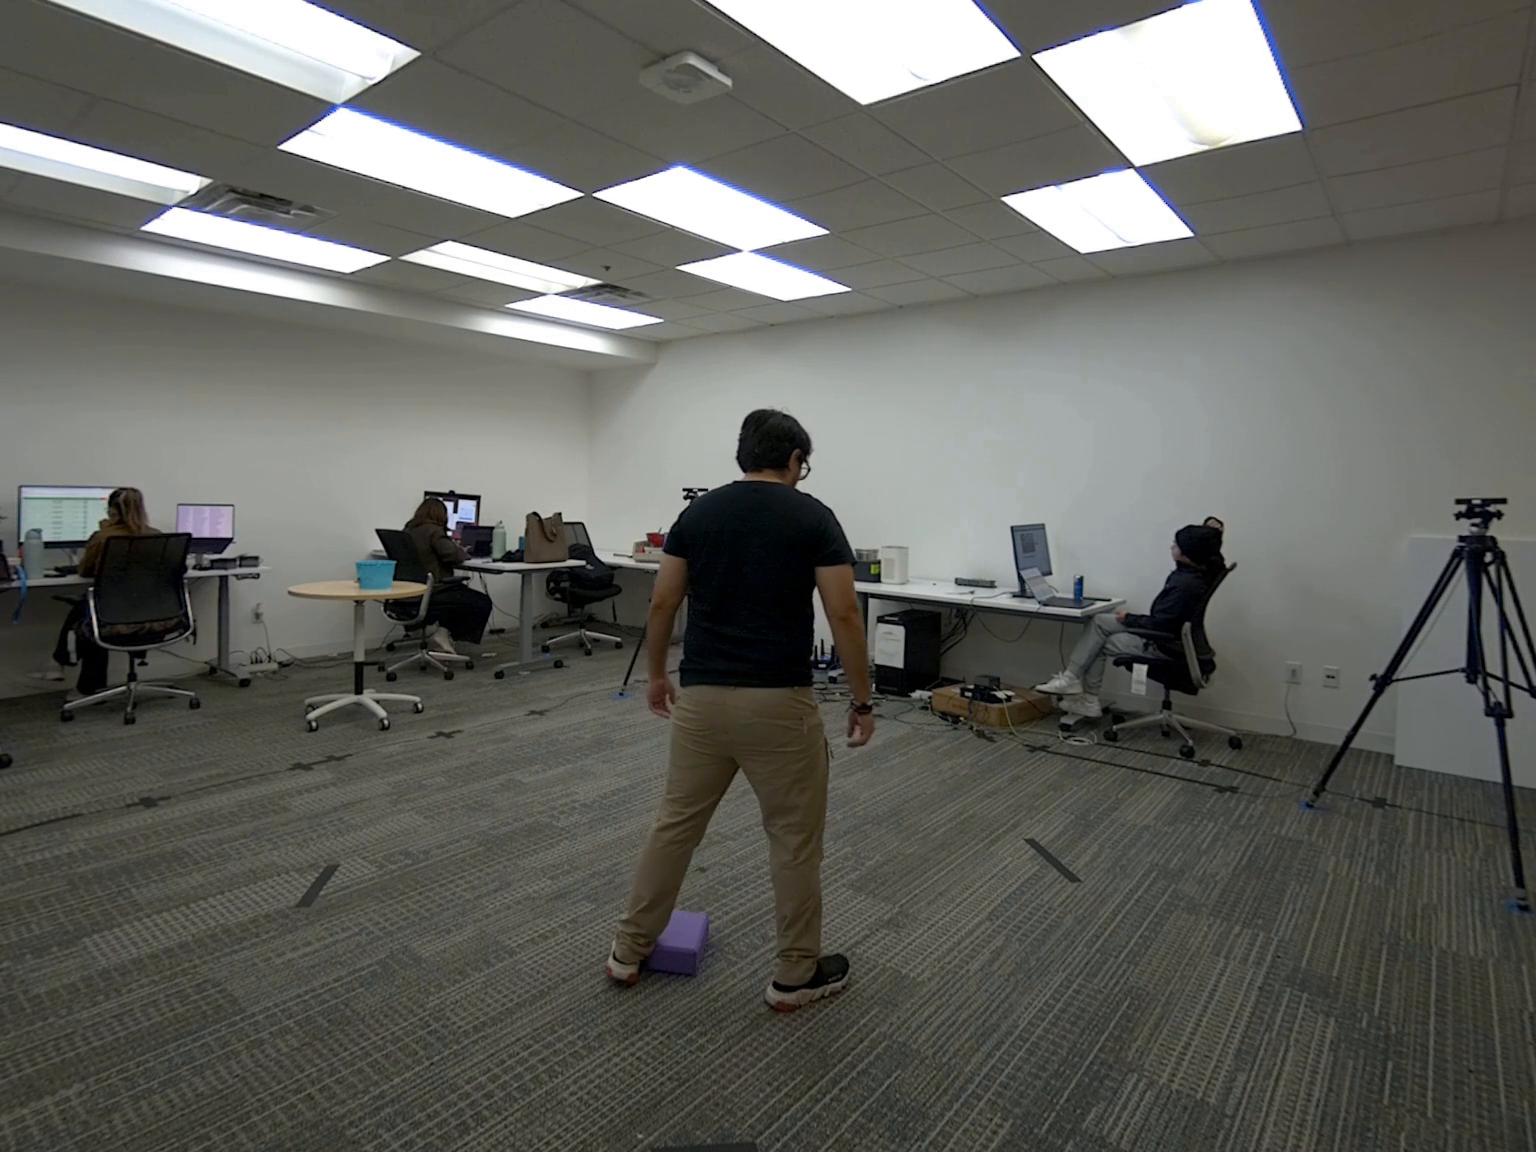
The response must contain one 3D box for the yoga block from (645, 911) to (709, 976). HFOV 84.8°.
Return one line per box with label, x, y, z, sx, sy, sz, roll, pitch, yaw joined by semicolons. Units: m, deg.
yoga block;-0.268;1.083;2.533;0.150;0.076;0.228;1;5;6
